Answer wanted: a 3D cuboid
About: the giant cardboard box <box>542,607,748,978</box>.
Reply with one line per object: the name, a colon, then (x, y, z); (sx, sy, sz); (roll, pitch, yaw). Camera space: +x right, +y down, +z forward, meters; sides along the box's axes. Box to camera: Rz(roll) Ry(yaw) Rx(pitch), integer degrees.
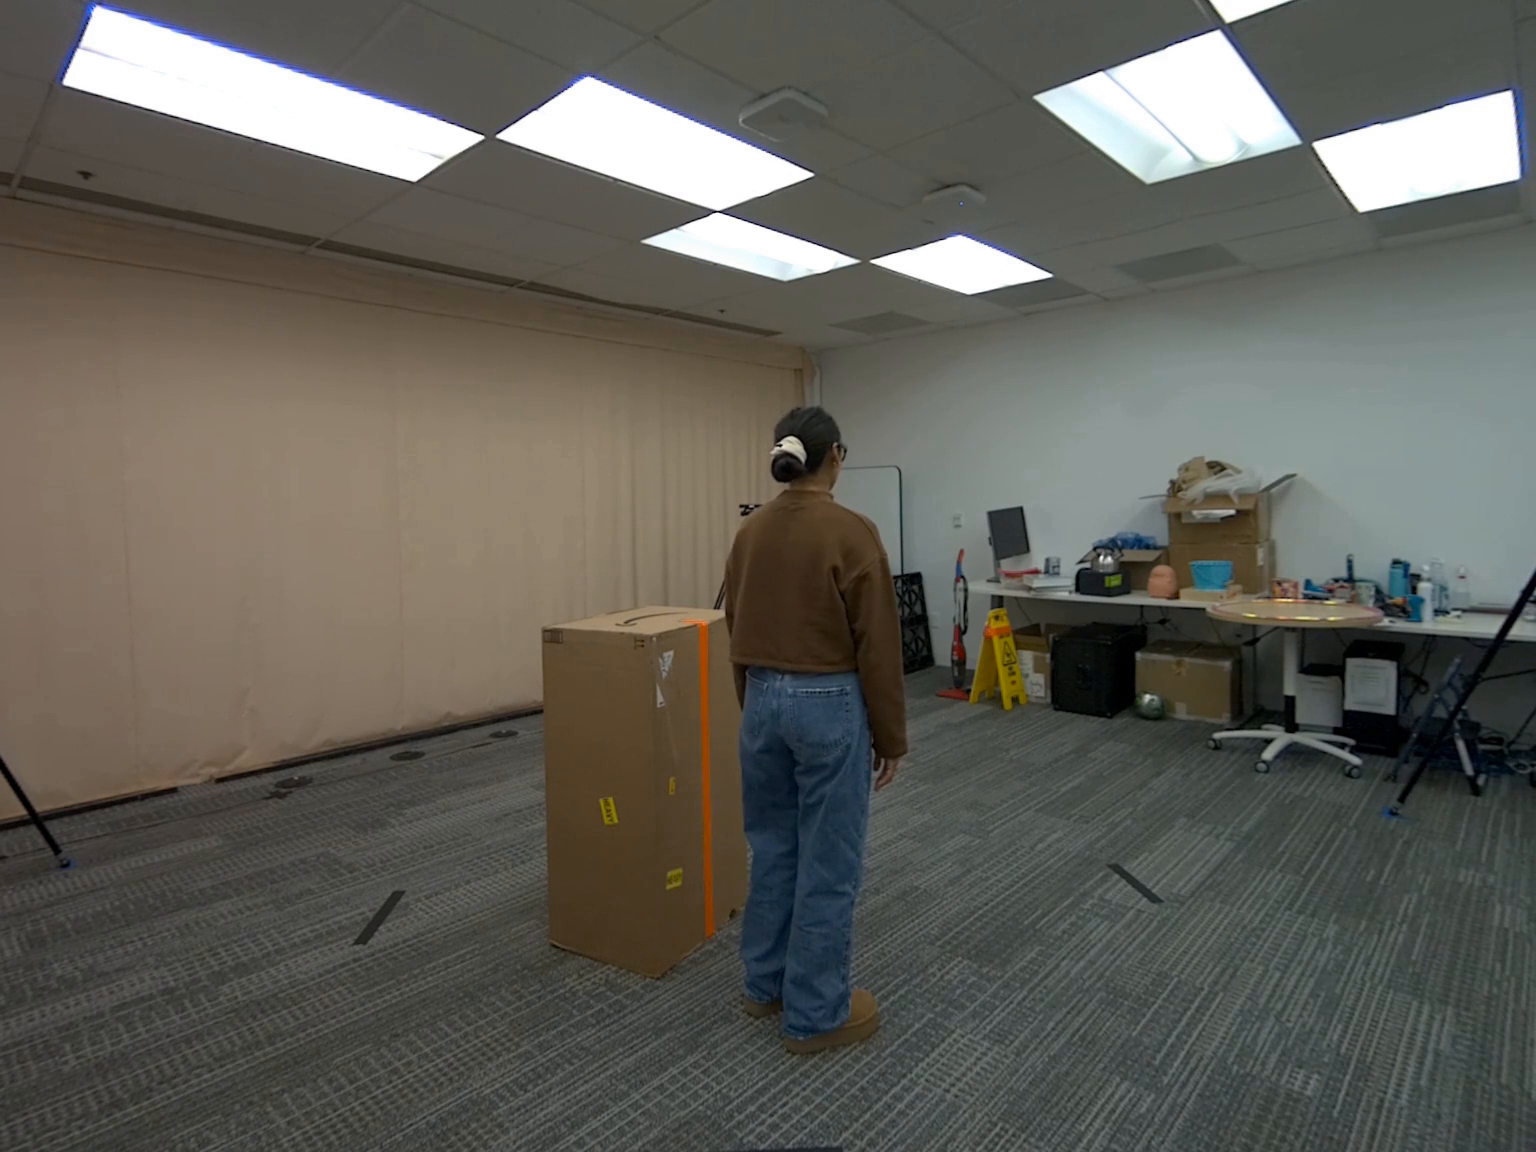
giant cardboard box: (-0.390, 0.654, 2.804); (0.438, 1.024, 0.563); (1, 3, 28)
